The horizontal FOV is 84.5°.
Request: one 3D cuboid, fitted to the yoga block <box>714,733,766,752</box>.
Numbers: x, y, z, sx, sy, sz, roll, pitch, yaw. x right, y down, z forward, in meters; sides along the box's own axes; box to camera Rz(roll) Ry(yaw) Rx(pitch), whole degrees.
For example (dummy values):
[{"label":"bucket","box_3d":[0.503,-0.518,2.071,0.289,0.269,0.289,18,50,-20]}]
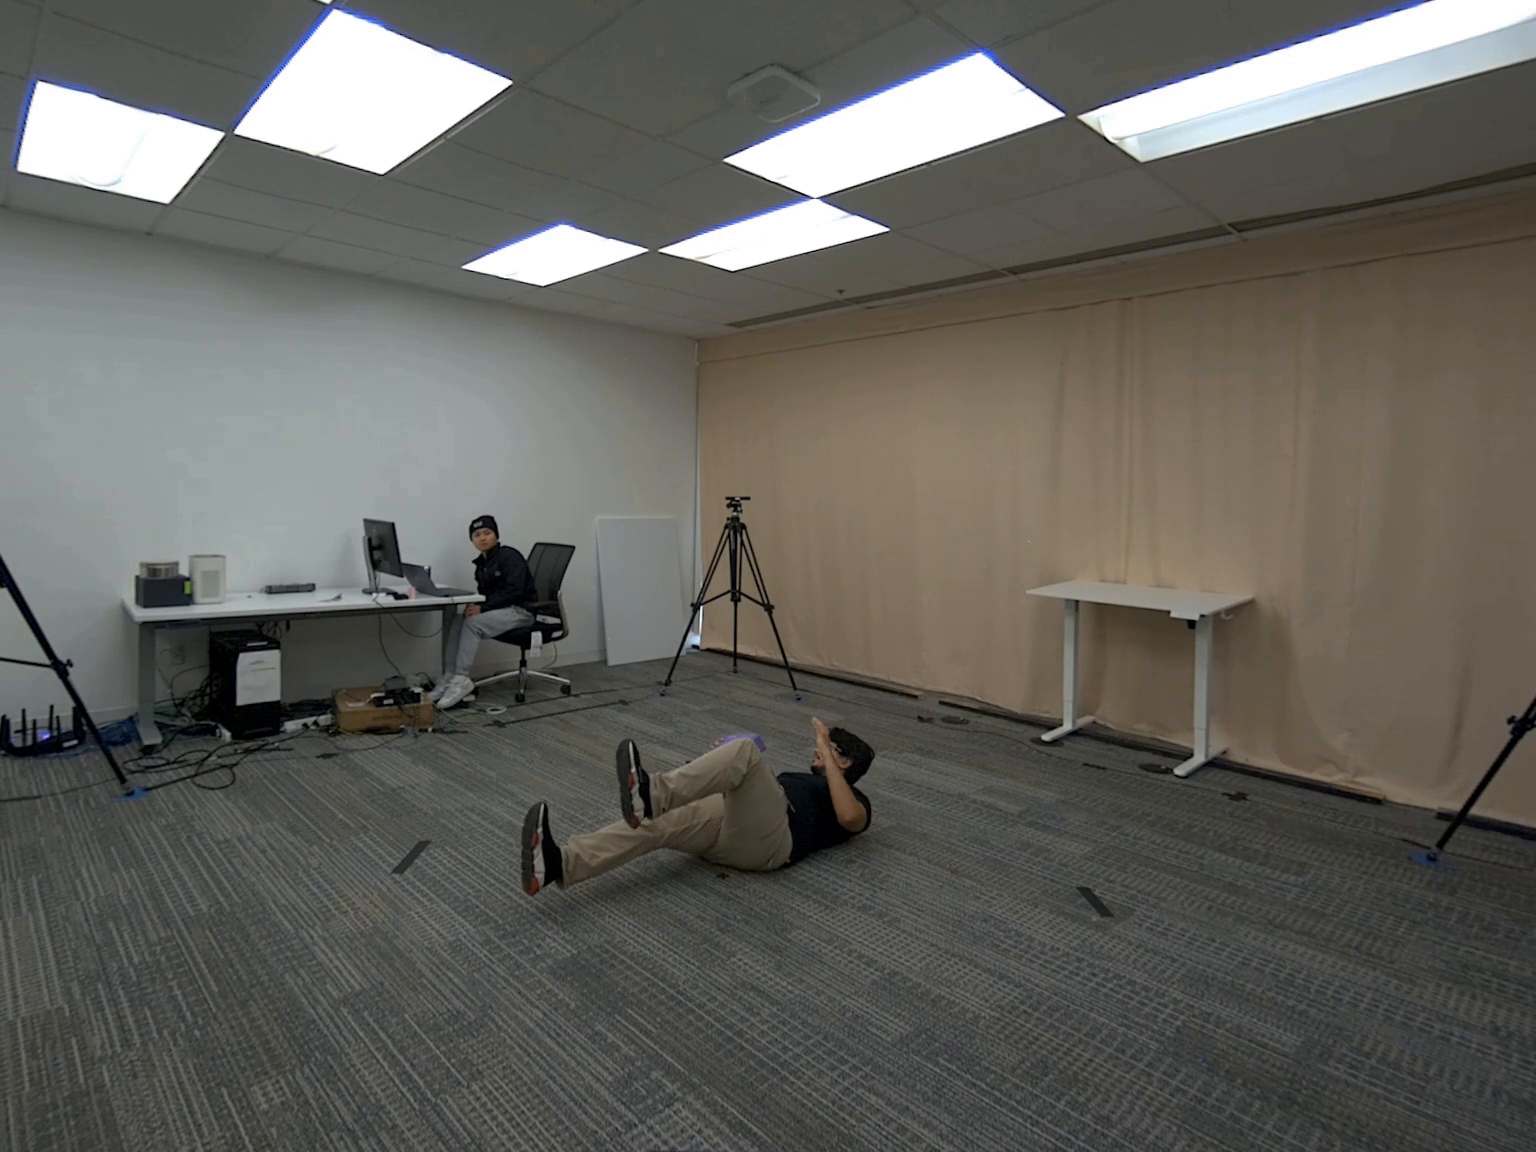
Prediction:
[{"label":"yoga block","box_3d":[-0.139,0.716,3.404,0.148,0.076,0.232,-34,9,-34]}]
